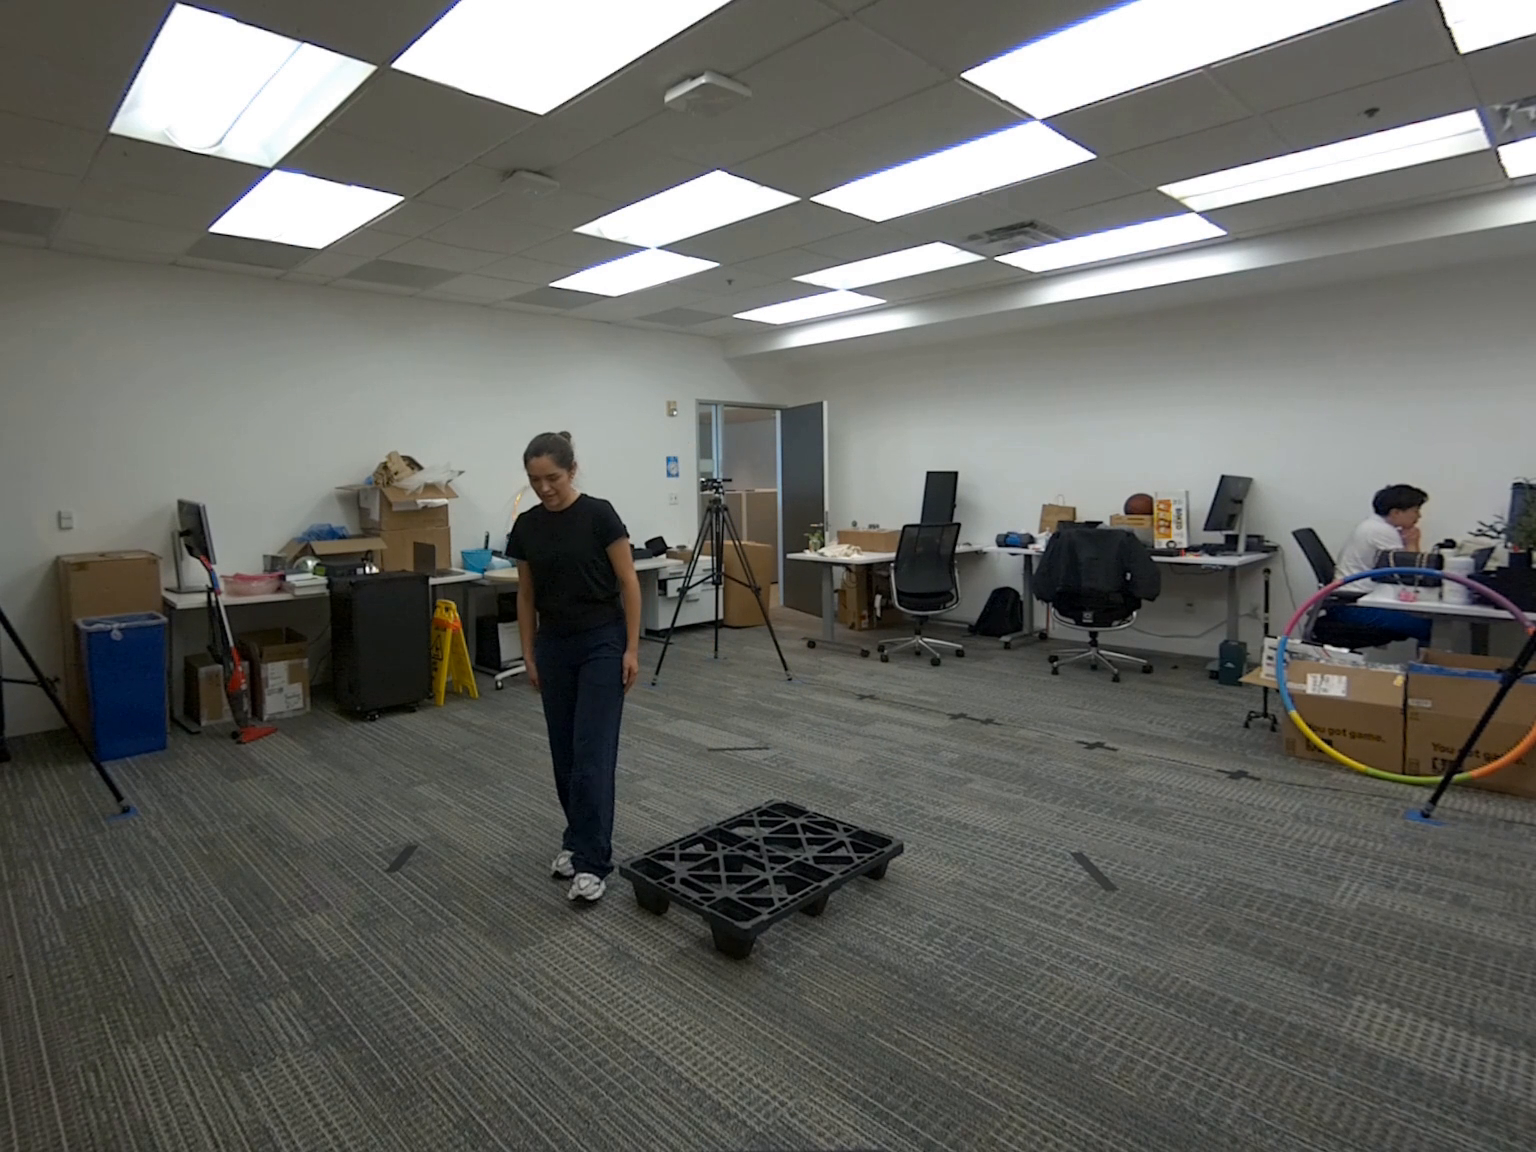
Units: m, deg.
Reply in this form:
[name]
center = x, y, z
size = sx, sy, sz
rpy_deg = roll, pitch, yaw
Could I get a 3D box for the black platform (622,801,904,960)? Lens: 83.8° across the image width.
[black platform]
center = -0.005, 1.002, 2.902
size = 0.624, 0.142, 0.785
rpy_deg = 6, 10, 44
